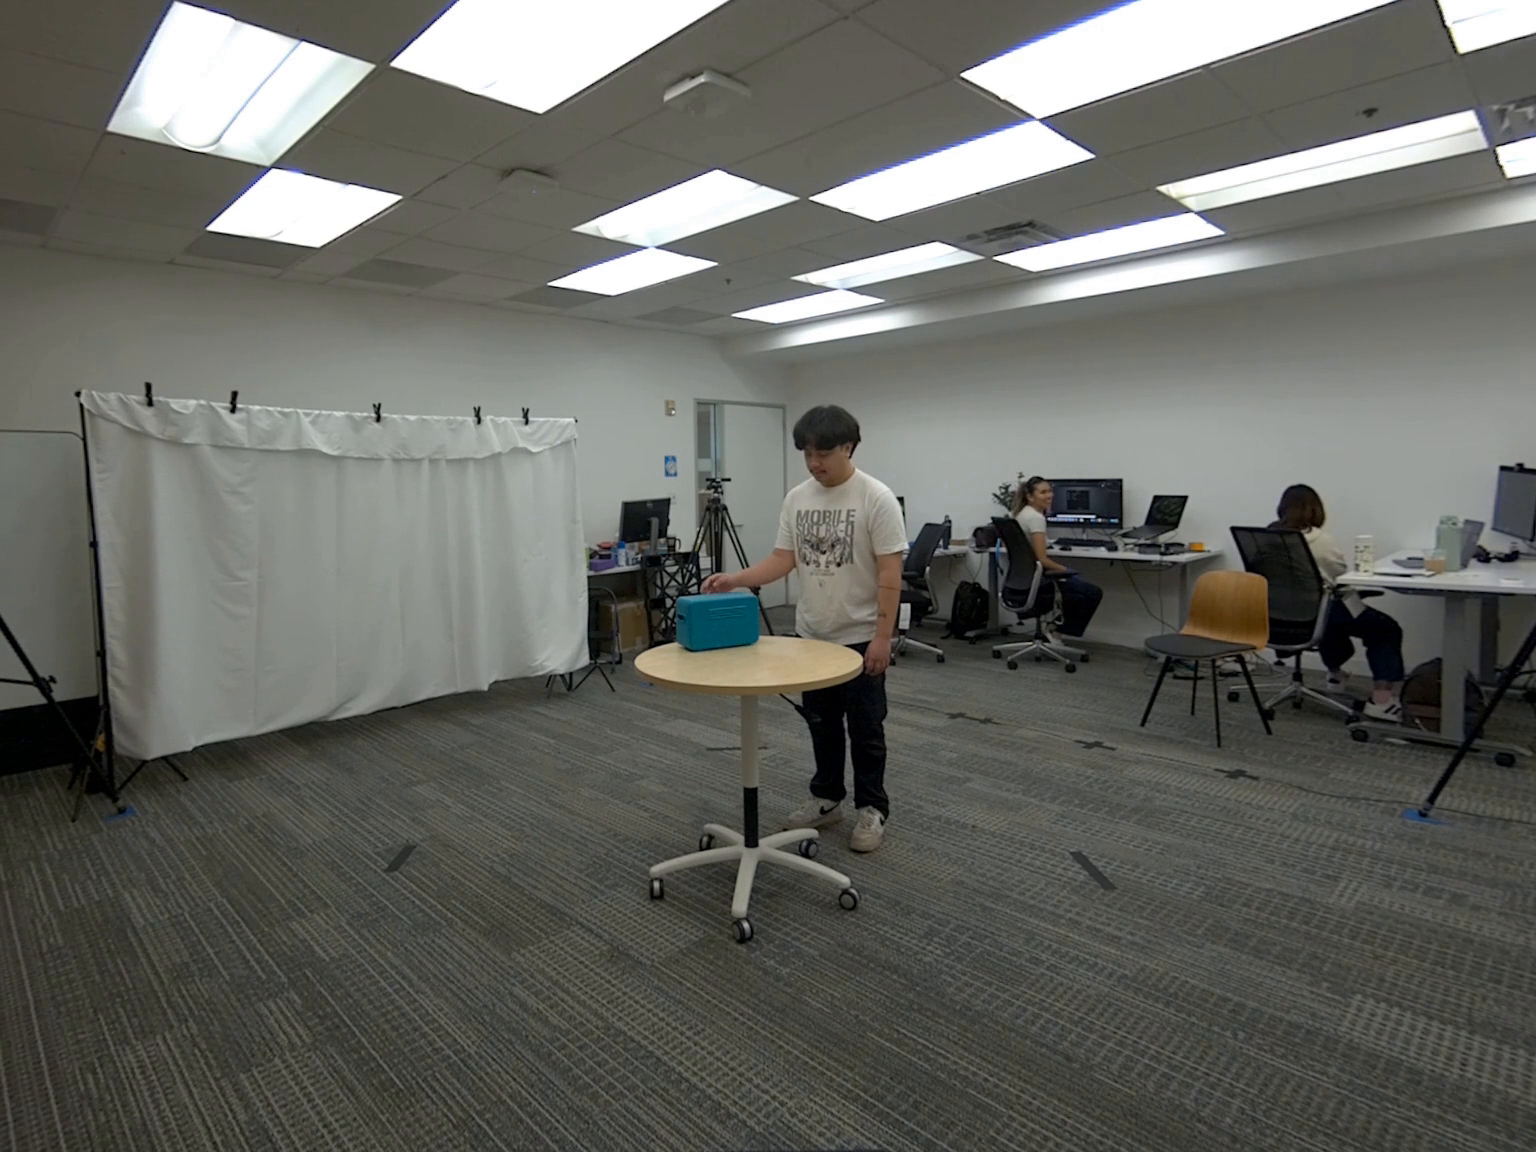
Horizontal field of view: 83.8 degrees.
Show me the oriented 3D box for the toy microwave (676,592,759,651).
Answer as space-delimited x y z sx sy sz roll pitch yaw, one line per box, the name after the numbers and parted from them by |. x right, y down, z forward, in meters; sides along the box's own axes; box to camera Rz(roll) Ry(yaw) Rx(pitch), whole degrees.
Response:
-0.186 0.159 3.093 0.280 0.183 0.156 -4 7 -27 | toy microwave
